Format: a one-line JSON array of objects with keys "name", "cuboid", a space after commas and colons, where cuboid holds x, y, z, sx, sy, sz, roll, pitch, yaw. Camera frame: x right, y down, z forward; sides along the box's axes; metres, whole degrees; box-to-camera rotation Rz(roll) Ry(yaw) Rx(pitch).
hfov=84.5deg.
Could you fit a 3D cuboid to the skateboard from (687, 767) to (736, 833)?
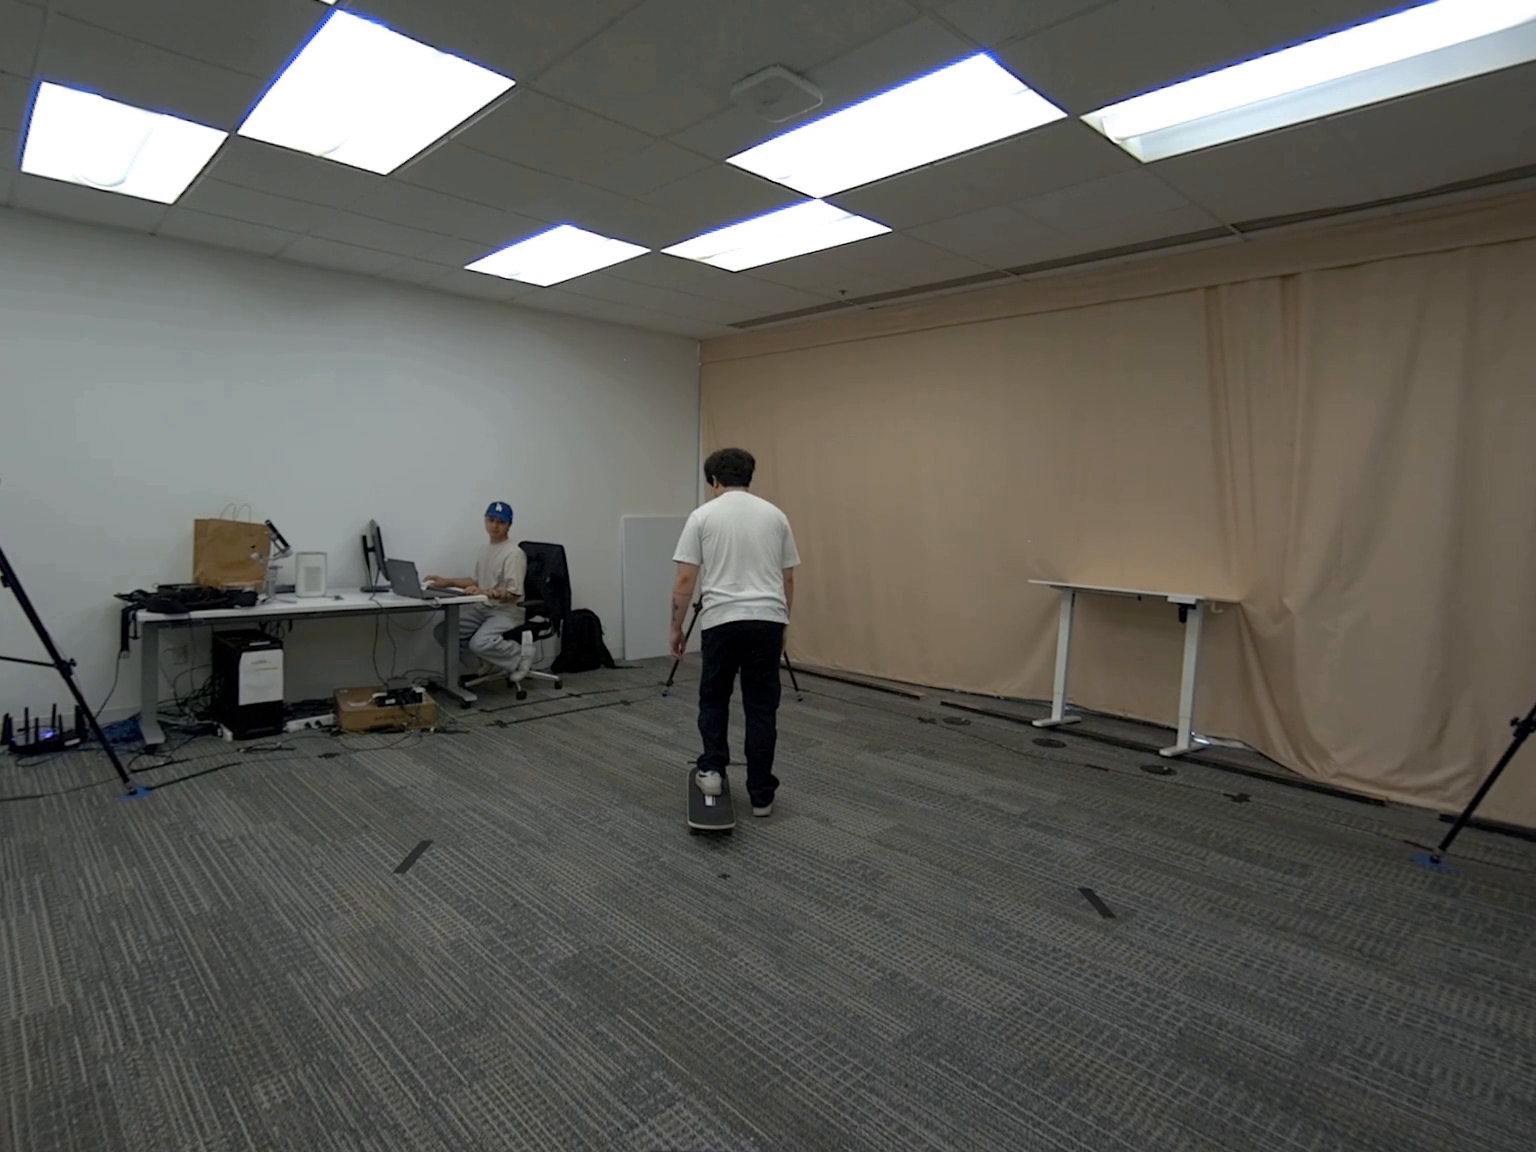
[{"name": "skateboard", "cuboid": [-0.266, 0.996, 3.685, 0.193, 0.110, 0.790, 0, 6, -5]}]
